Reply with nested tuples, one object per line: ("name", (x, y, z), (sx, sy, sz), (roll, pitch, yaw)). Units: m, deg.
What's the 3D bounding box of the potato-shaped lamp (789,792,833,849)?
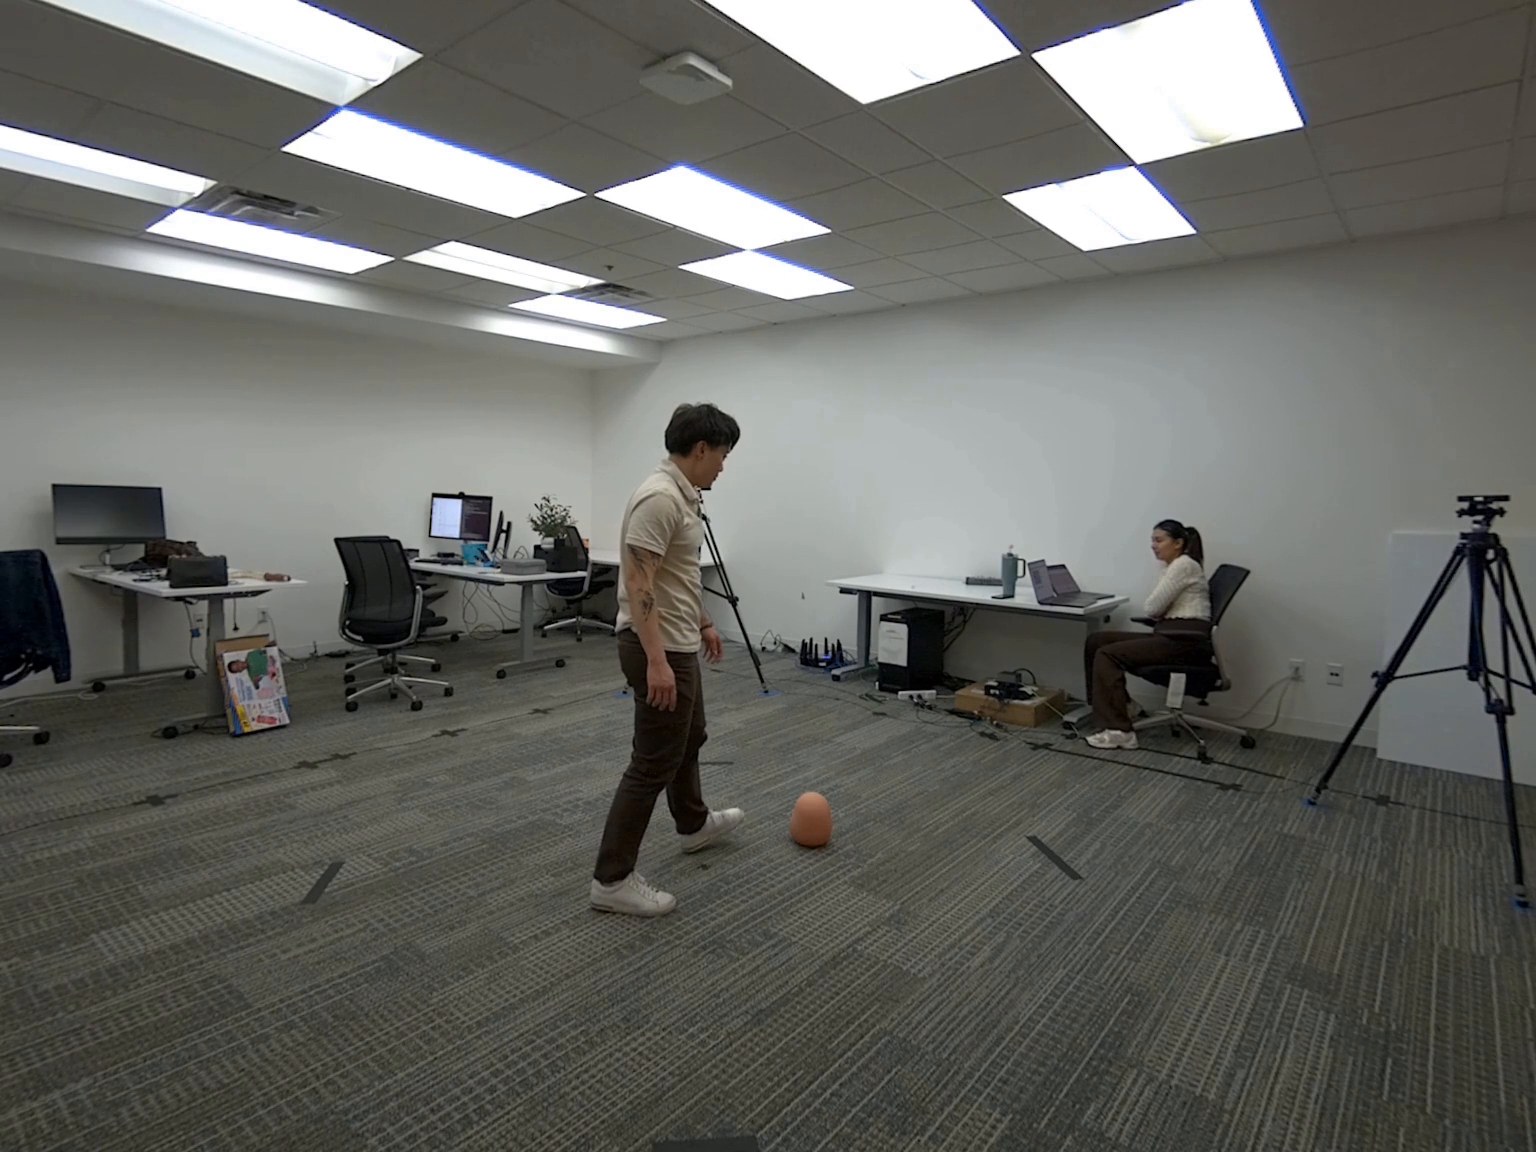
("potato-shaped lamp", (0.159, 0.941, 3.354), (0.163, 0.197, 0.174), (0, 4, -11))
